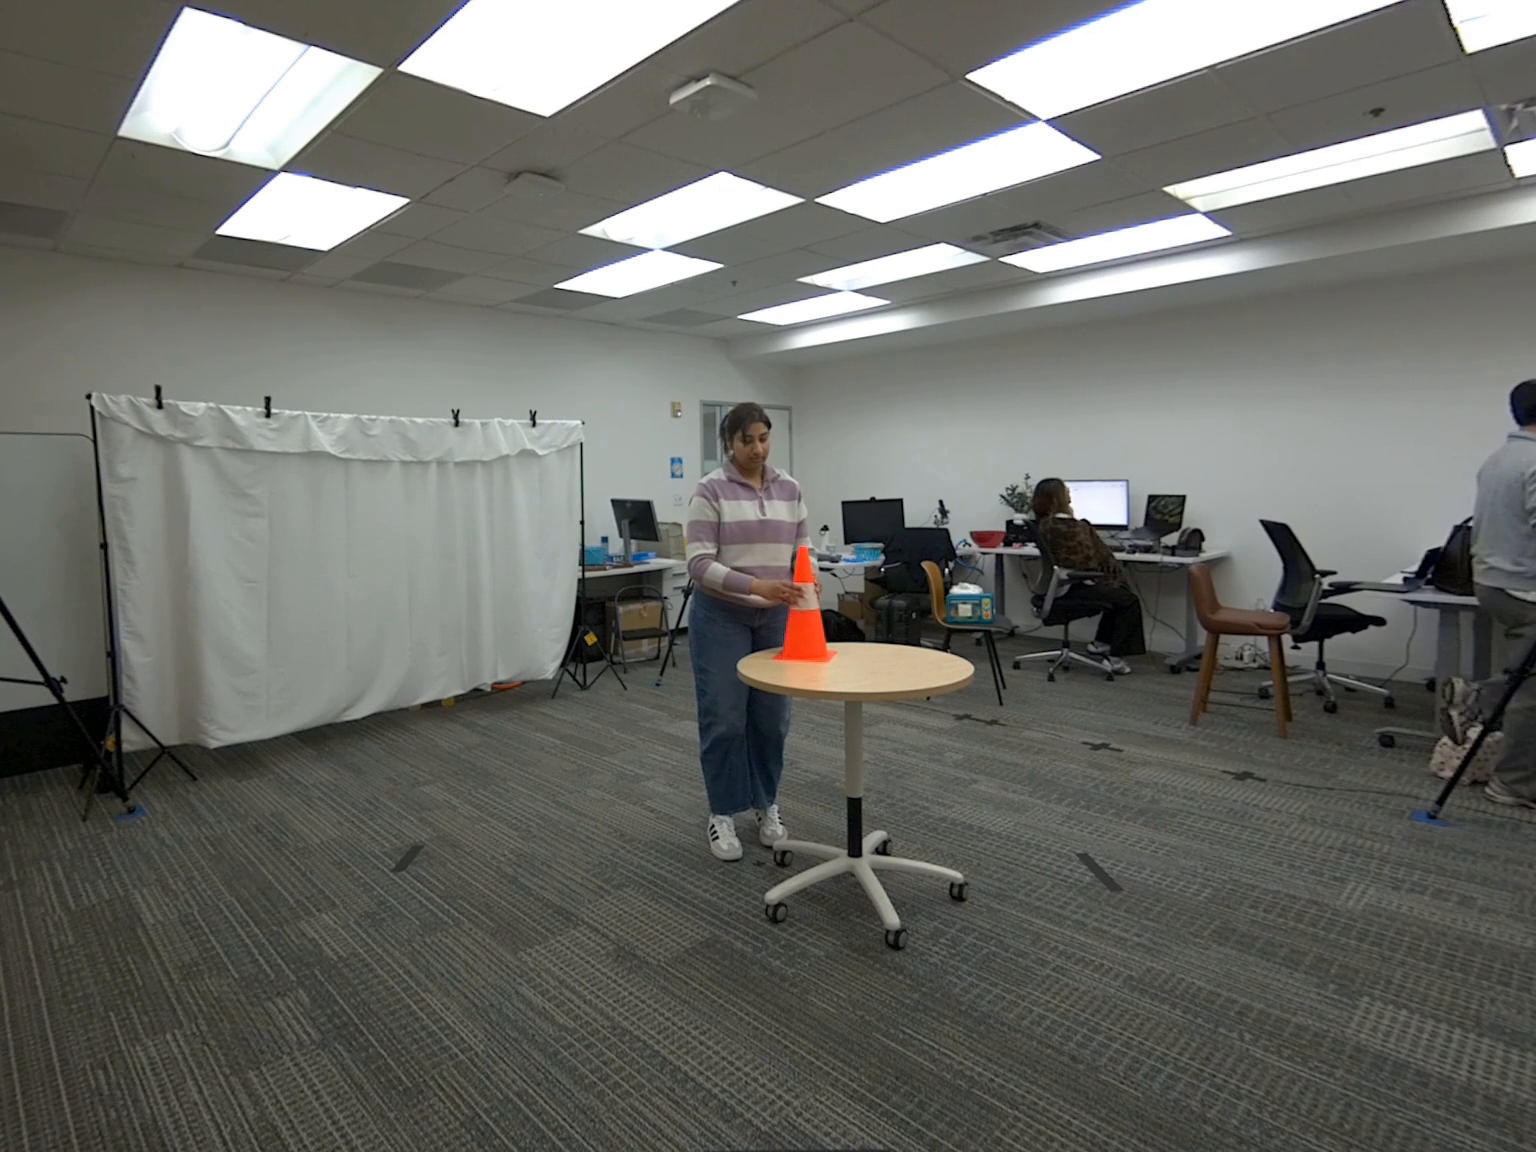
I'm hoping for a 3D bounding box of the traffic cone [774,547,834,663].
[{"bbox_3d":[0.124,0.090,2.963,0.207,0.383,0.202,-1,2,17],"label":"traffic cone"}]
